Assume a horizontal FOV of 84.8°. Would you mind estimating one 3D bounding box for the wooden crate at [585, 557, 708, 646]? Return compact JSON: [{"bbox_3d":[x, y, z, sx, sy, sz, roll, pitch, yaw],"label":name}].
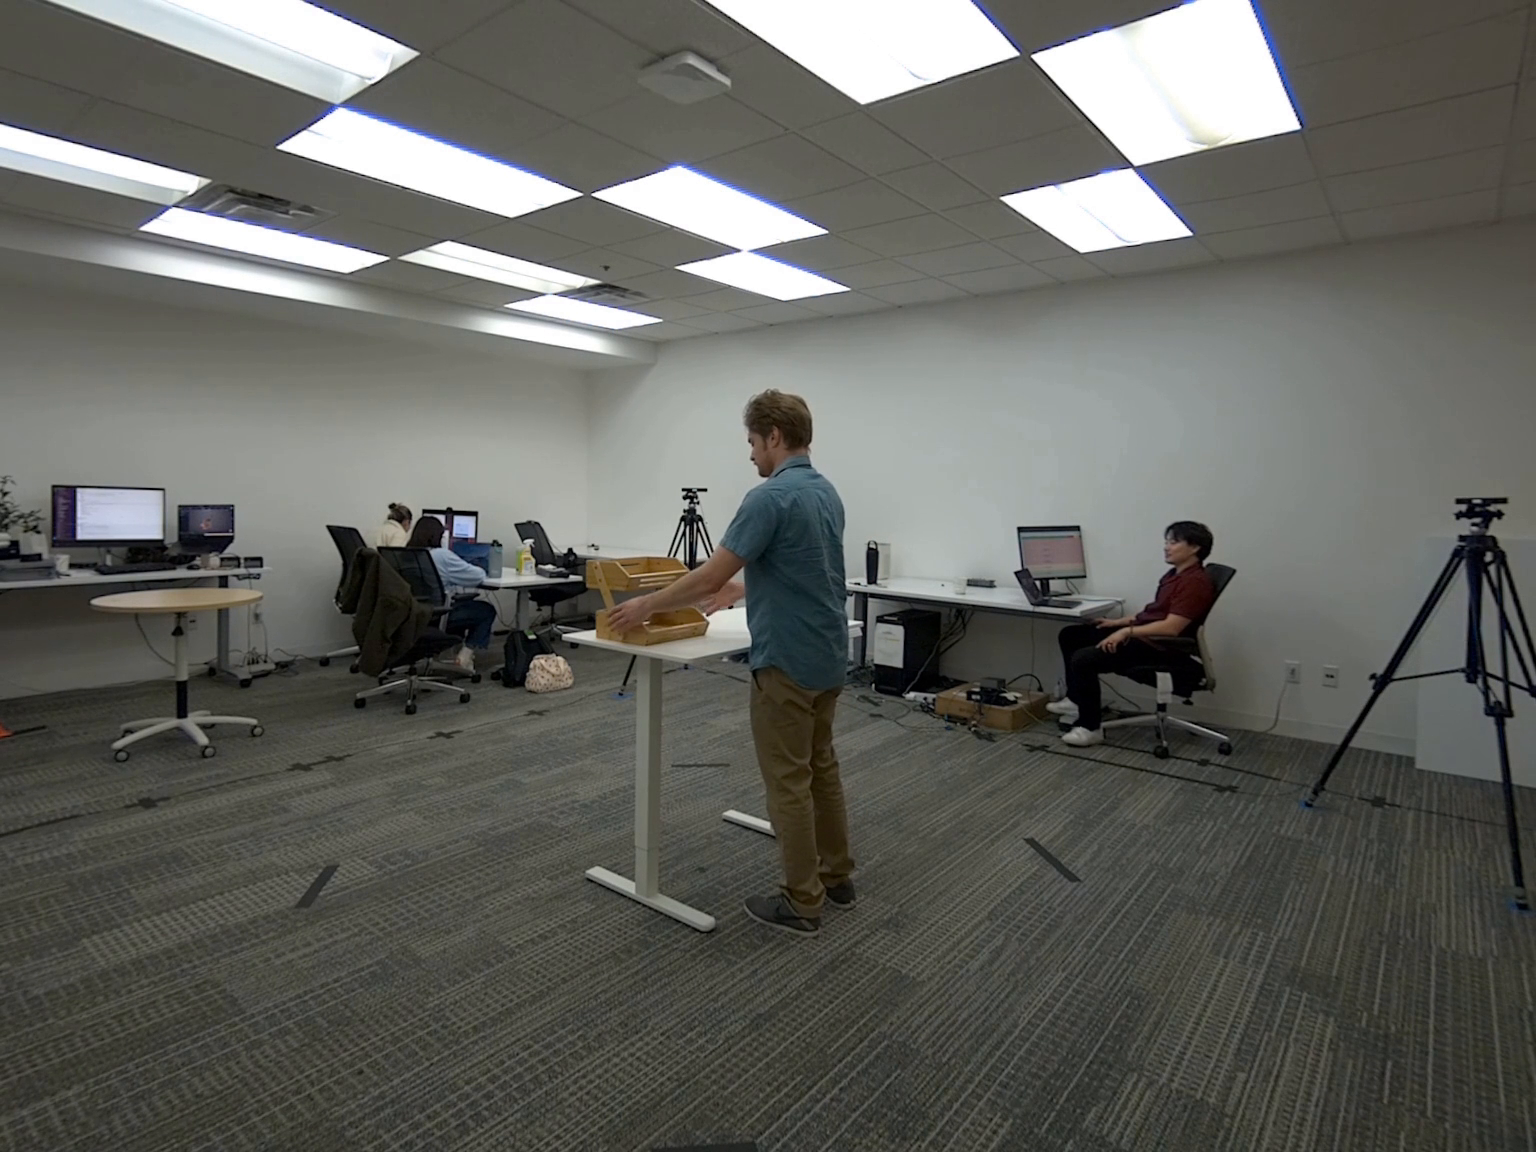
[{"bbox_3d":[-0.420,0.070,2.921,0.312,0.272,0.315,3,5,38],"label":"wooden crate"}]
